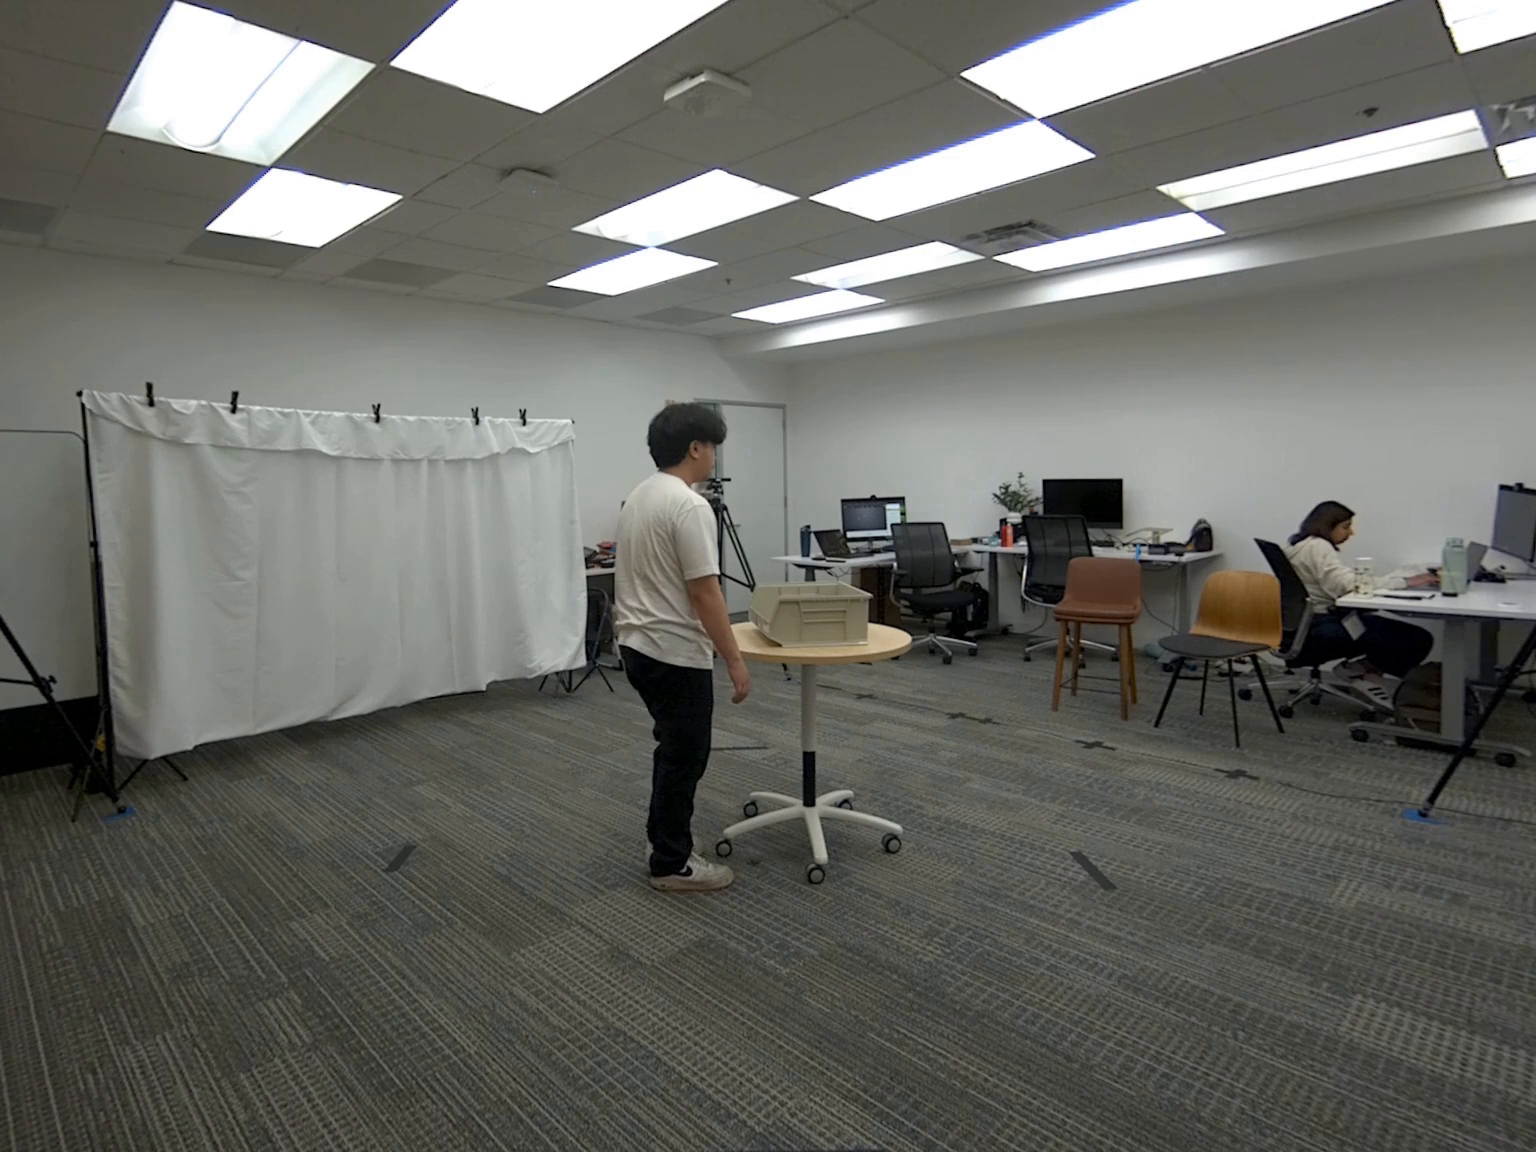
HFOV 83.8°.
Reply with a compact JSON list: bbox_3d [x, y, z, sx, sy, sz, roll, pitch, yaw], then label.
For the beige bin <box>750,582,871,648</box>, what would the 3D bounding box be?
[{"bbox_3d":[0.150,0.139,3.221,0.374,0.188,0.428,-1,6,-10],"label":"beige bin"}]
